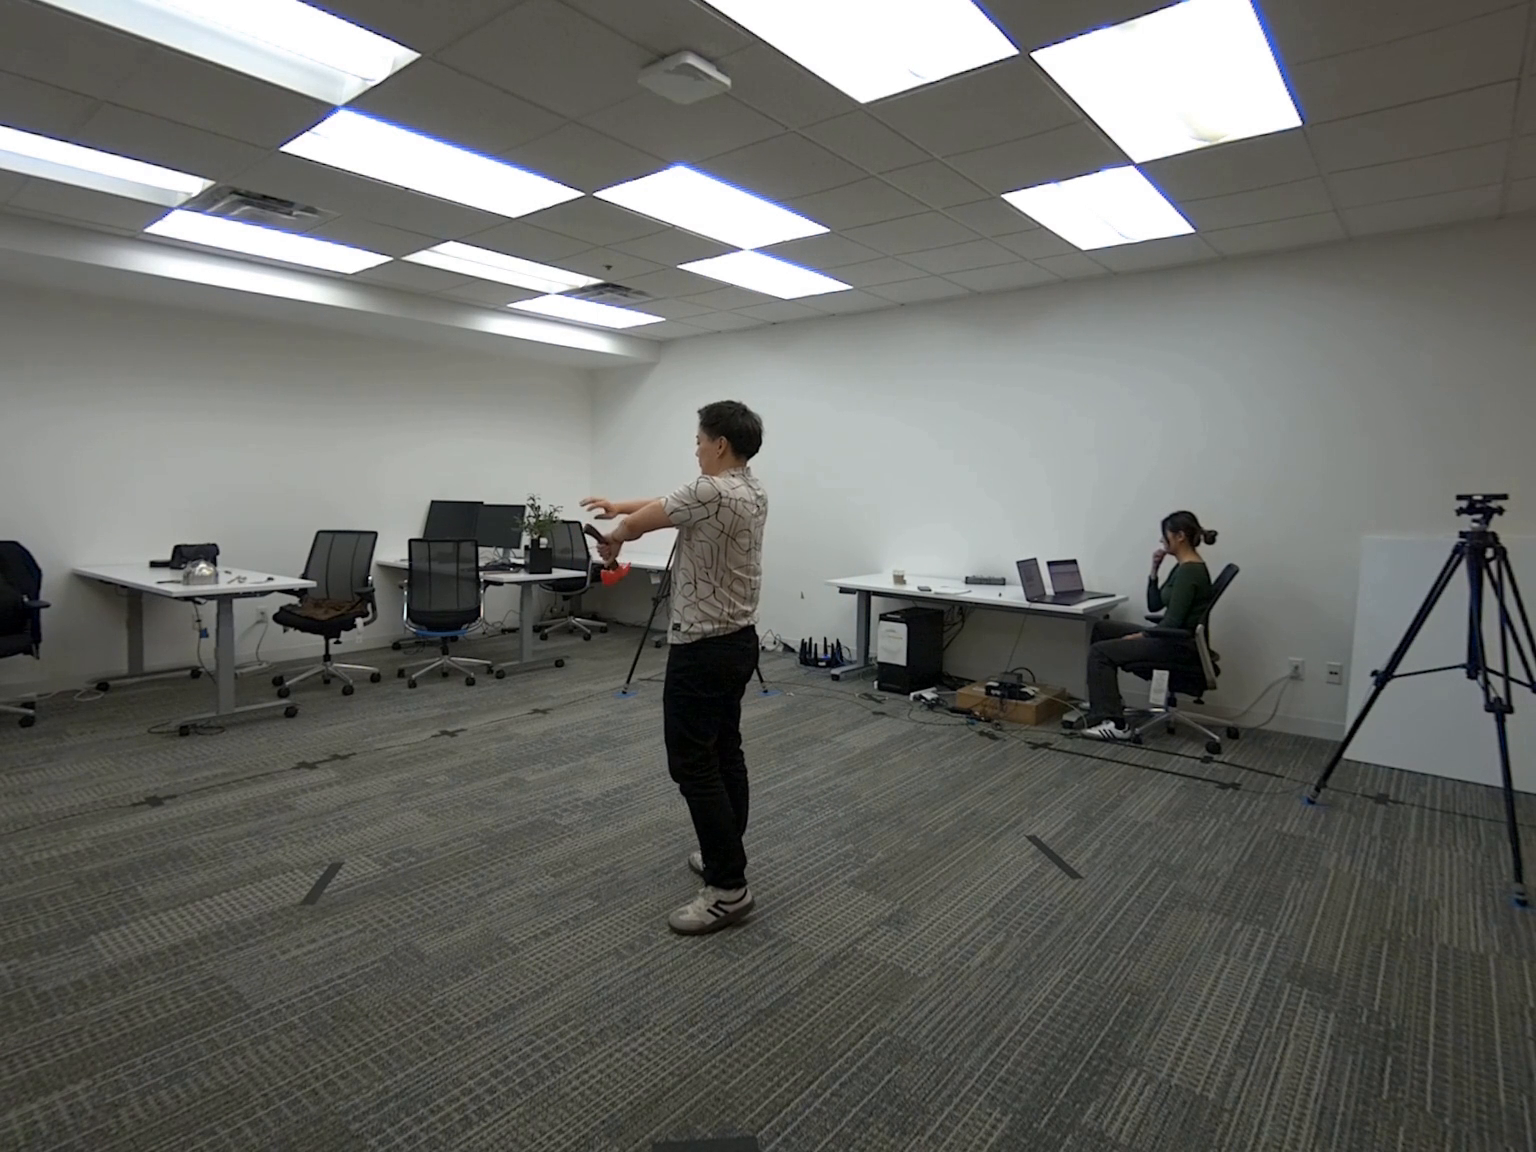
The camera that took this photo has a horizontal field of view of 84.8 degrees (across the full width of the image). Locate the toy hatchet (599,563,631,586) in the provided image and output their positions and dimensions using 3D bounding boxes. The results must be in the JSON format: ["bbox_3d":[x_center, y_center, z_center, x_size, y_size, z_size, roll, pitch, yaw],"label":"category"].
[{"bbox_3d":[-0.623,-0.068,3.056,0.031,0.131,0.259,20,-21,44],"label":"toy hatchet"}]
